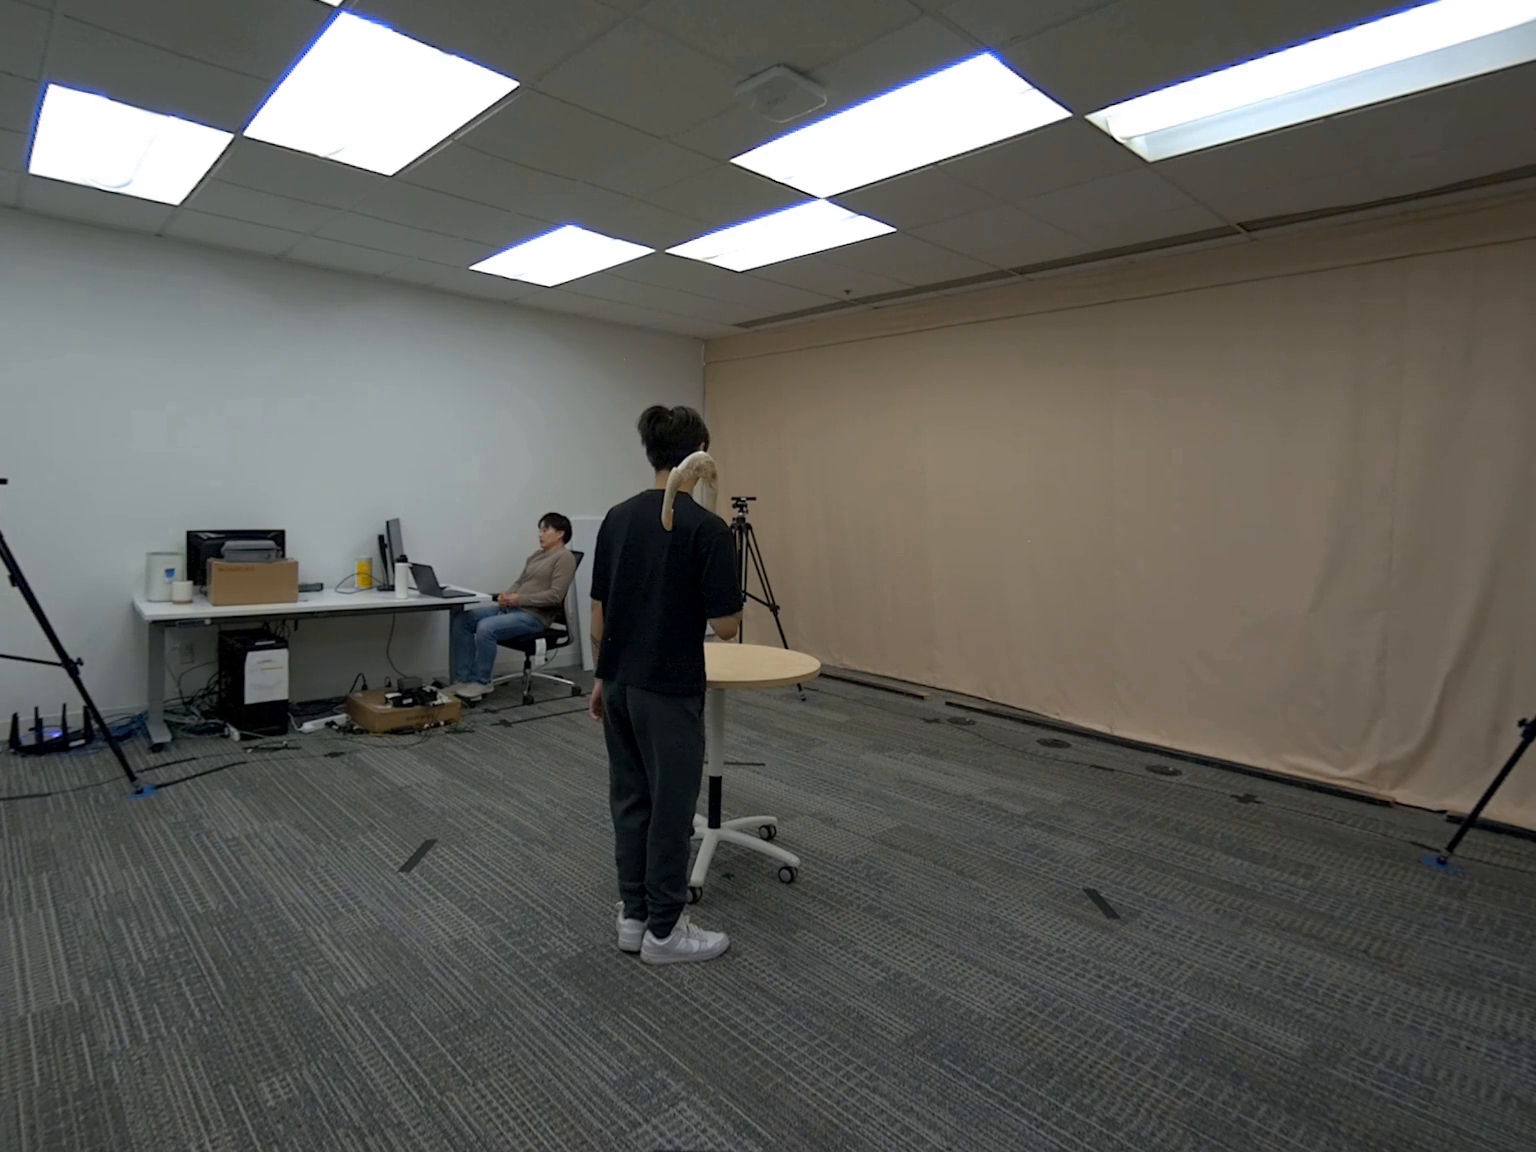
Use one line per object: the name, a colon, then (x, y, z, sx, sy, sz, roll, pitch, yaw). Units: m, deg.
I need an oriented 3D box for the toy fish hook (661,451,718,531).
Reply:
toy fish hook: (-0.235, -0.146, 2.486, 0.050, 0.494, 0.224, 30, 55, 32)
